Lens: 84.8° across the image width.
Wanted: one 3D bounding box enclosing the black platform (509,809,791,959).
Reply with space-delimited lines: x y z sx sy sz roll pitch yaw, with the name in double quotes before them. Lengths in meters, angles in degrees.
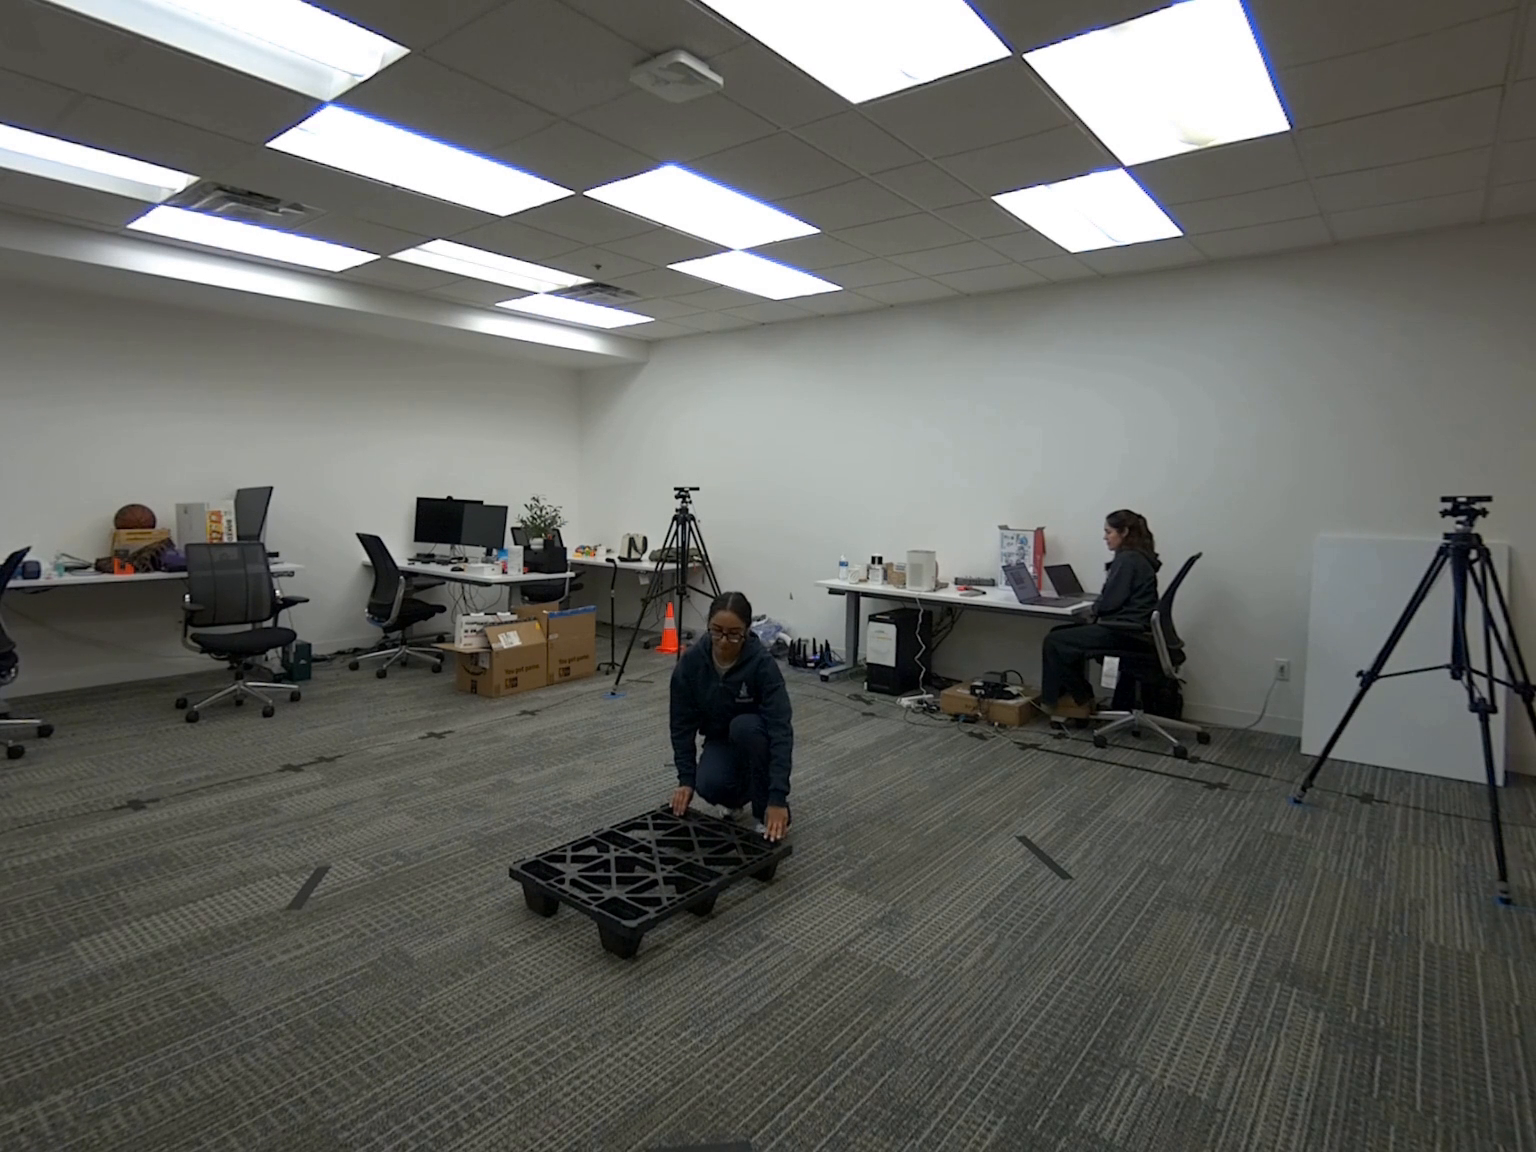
"black platform" -0.389 1.017 2.915 0.626 0.143 0.782 6 8 39
